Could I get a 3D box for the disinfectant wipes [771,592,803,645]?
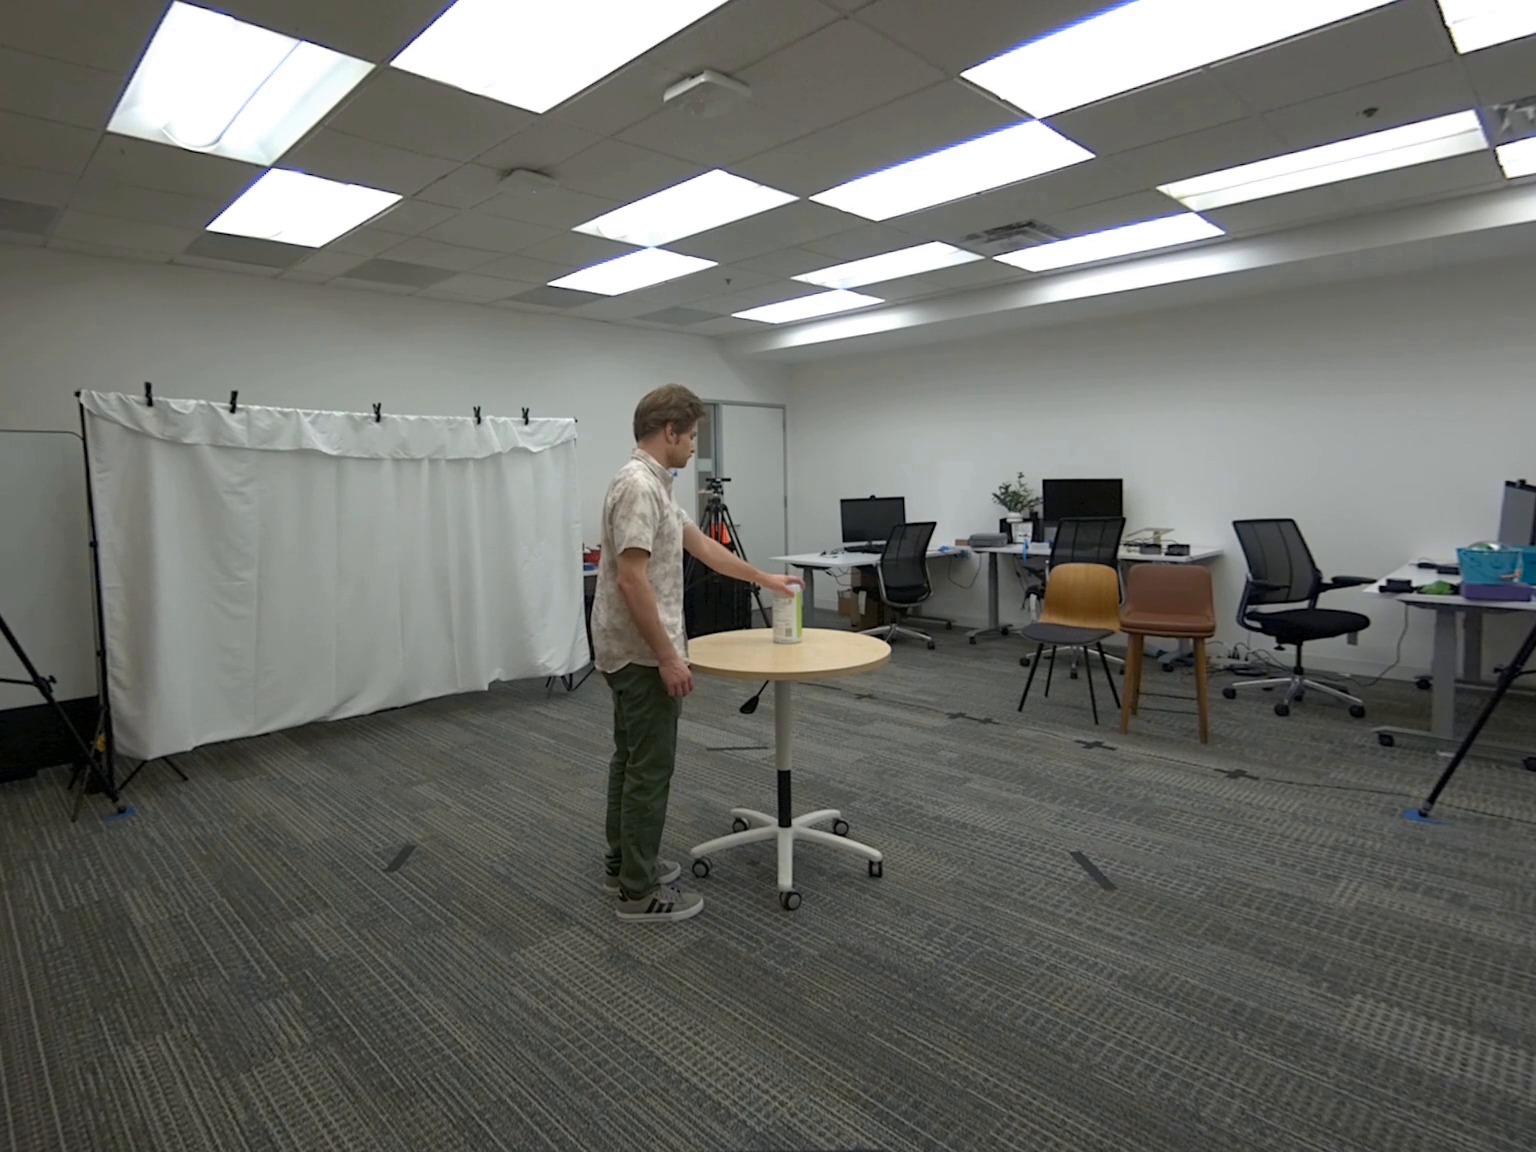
[{"bbox_3d":[0.075,0.138,3.157,0.118,0.217,0.118,-1,2,-2],"label":"disinfectant wipes"}]
